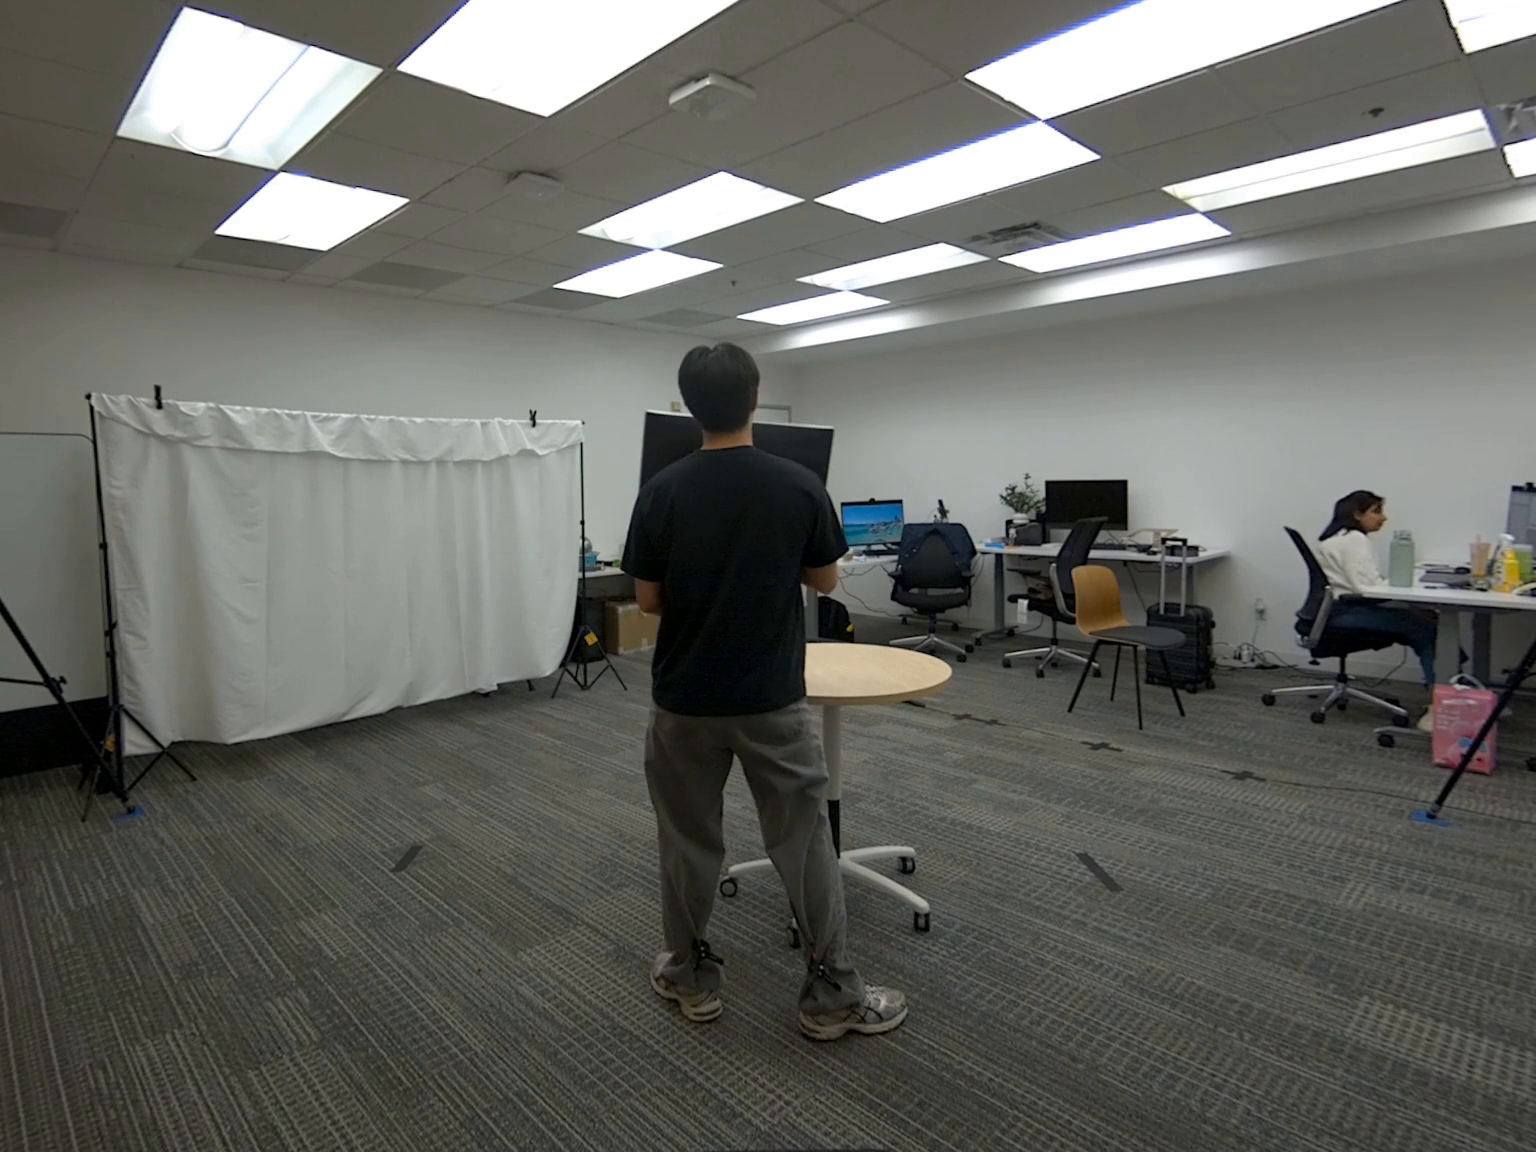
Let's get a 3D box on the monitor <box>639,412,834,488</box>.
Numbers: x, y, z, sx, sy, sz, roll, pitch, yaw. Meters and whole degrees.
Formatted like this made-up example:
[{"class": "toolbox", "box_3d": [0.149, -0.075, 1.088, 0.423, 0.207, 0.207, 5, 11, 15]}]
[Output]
[{"class": "monitor", "box_3d": [-0.090, -0.179, 2.481, 0.558, 0.566, 0.223, 5, -1, -6]}]
